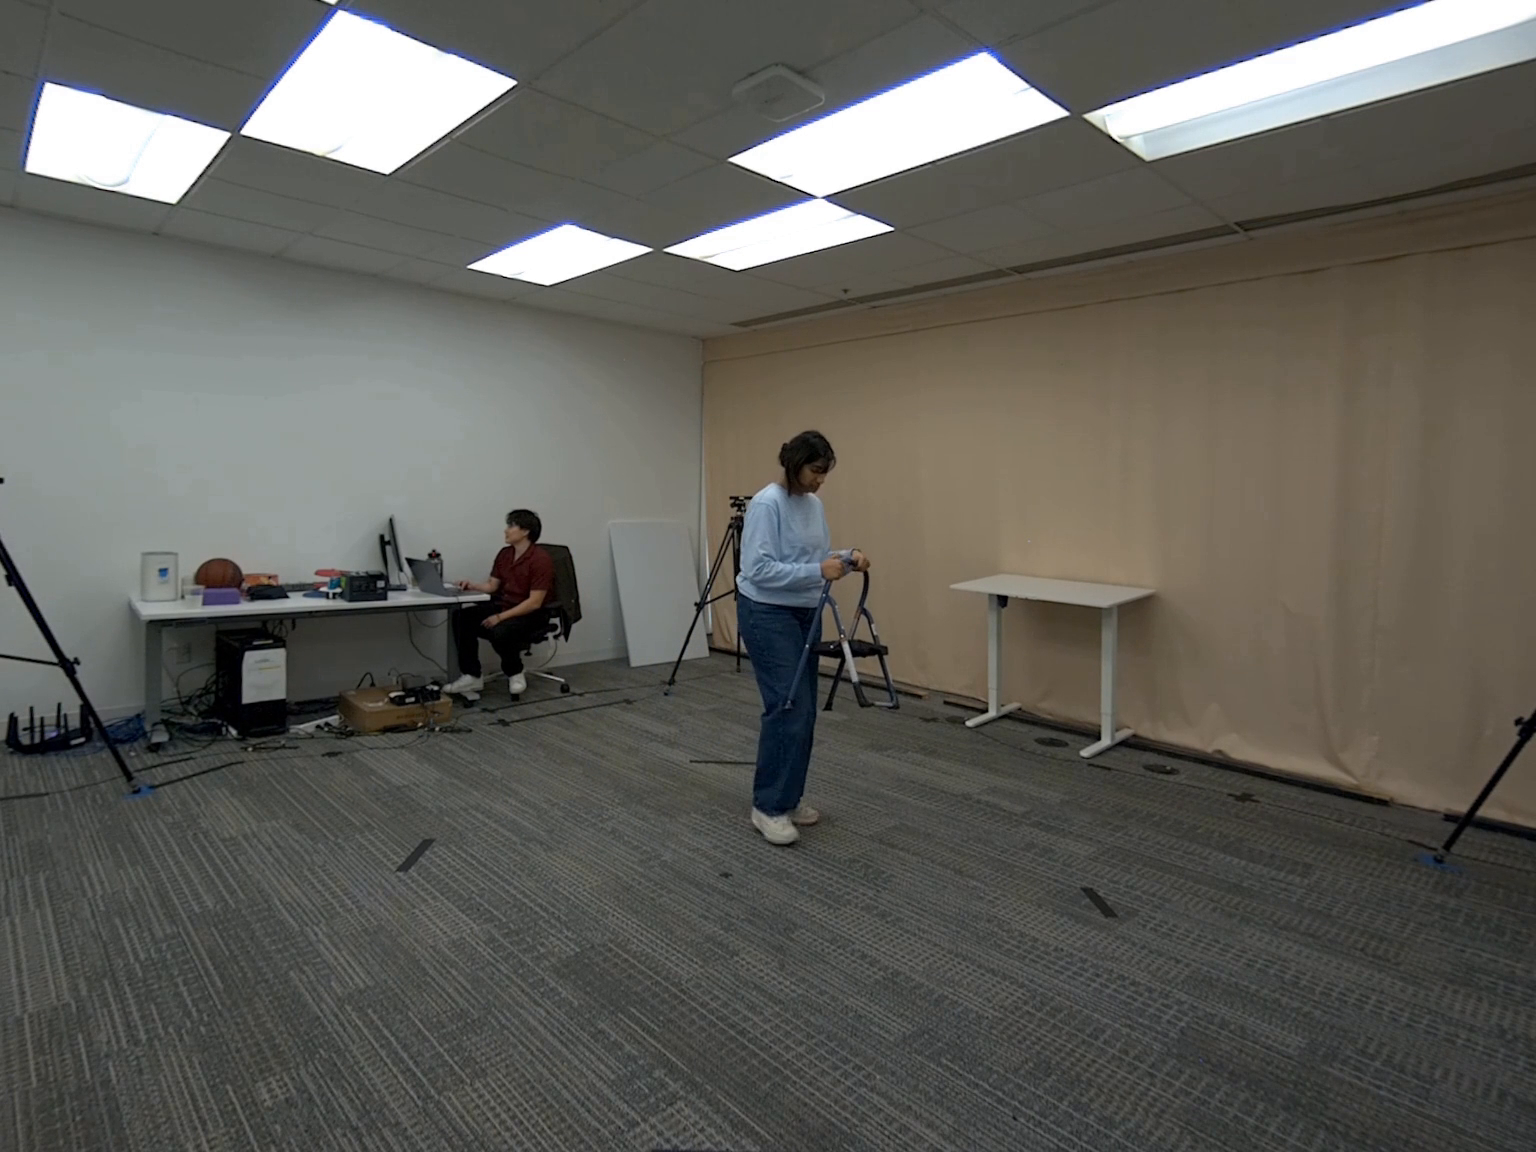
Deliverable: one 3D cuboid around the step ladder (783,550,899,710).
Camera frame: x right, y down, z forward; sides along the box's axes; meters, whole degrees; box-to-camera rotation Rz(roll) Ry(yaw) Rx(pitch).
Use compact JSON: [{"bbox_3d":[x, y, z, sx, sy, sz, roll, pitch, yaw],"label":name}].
[{"bbox_3d":[0.300,0.247,3.491,0.355,0.612,0.419,-7,-13,26],"label":"step ladder"}]
